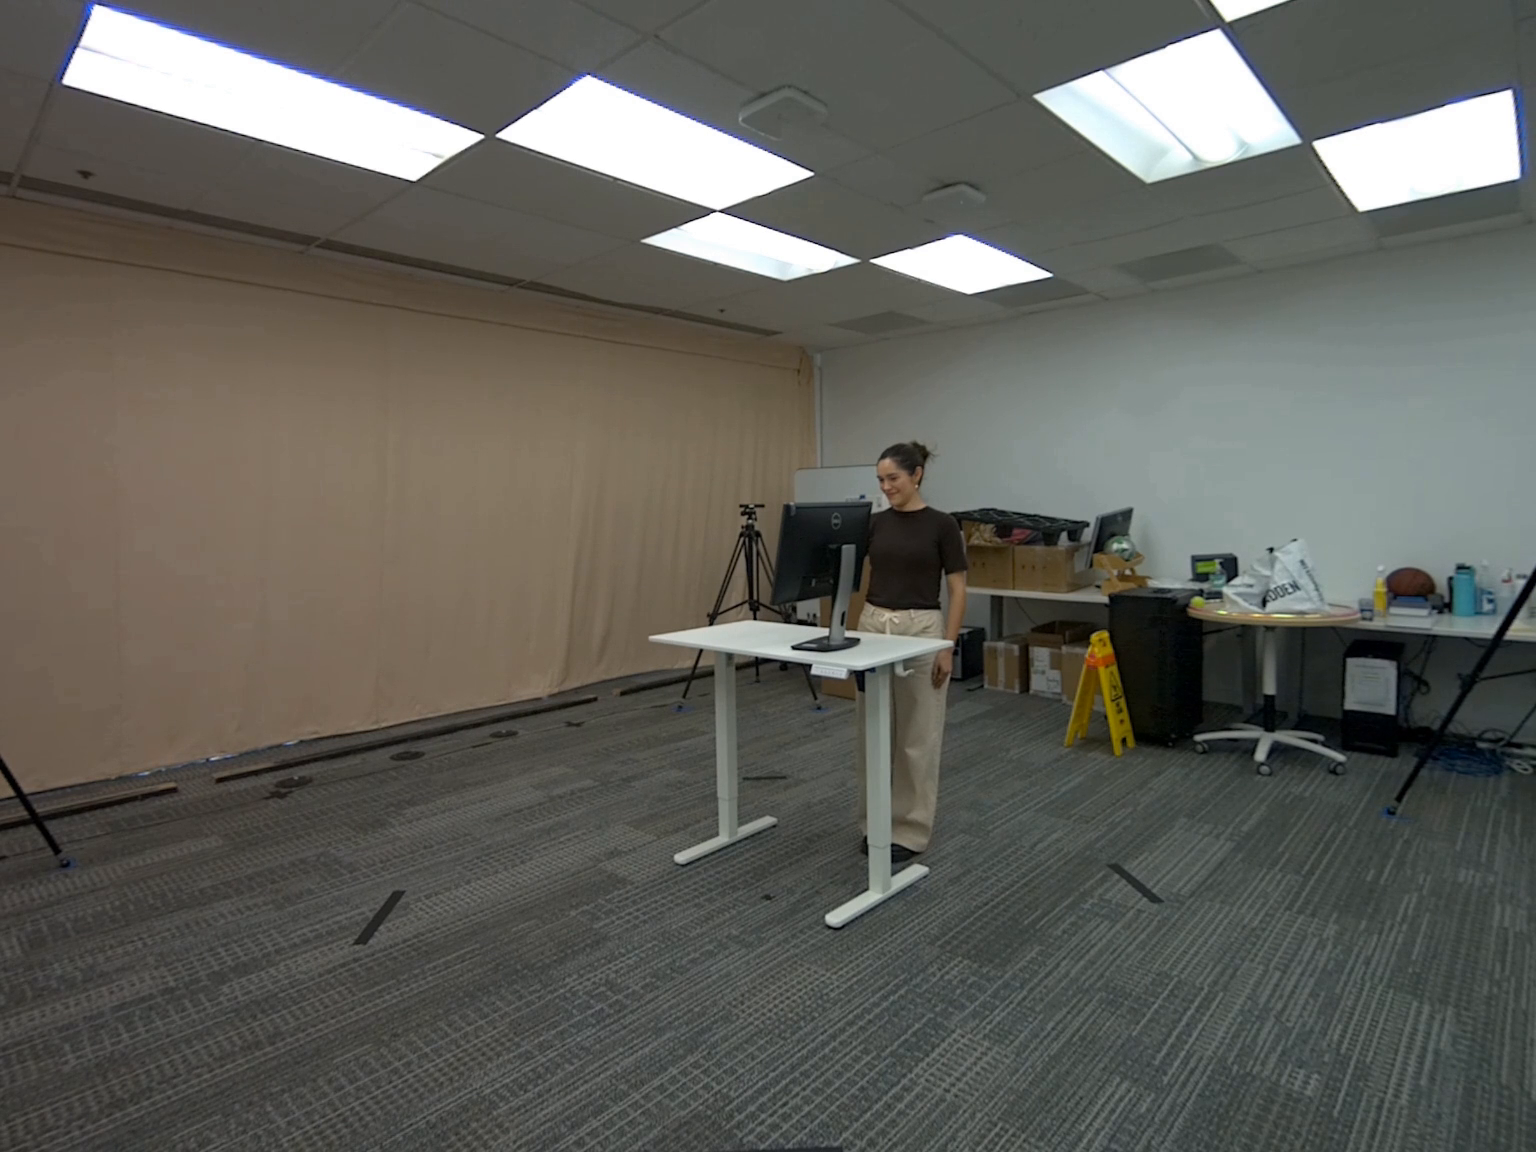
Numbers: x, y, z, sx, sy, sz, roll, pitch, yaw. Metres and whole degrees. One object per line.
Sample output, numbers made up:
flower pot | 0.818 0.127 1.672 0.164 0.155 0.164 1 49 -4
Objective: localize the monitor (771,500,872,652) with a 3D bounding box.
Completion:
monitor | 0.225 -0.001 2.993 0.193 0.521 0.523 1 4 39
